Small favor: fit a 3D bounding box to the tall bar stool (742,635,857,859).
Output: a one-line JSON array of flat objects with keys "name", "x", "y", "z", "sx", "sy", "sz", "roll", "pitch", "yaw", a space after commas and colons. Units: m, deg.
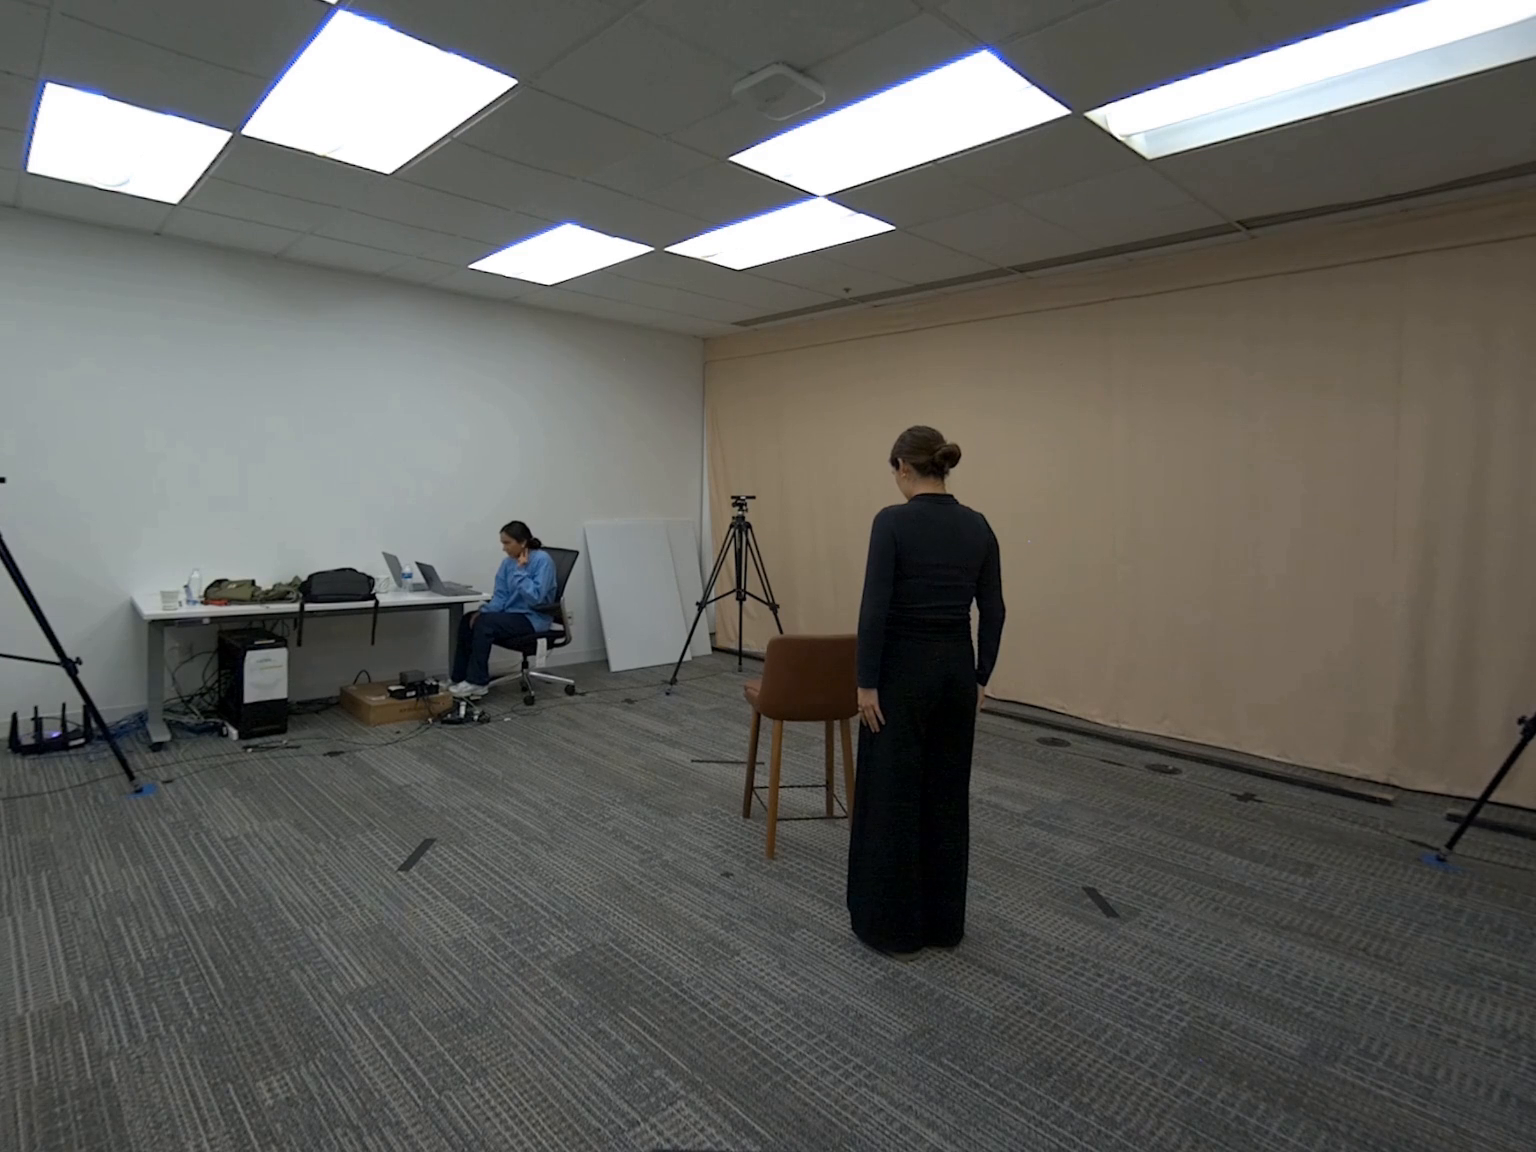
[{"name": "tall bar stool", "x": 0.139, "y": 0.636, "z": 3.455, "sx": 0.453, "sy": 0.886, "sz": 0.473, "roll": 1, "pitch": 5, "yaw": -11}]
